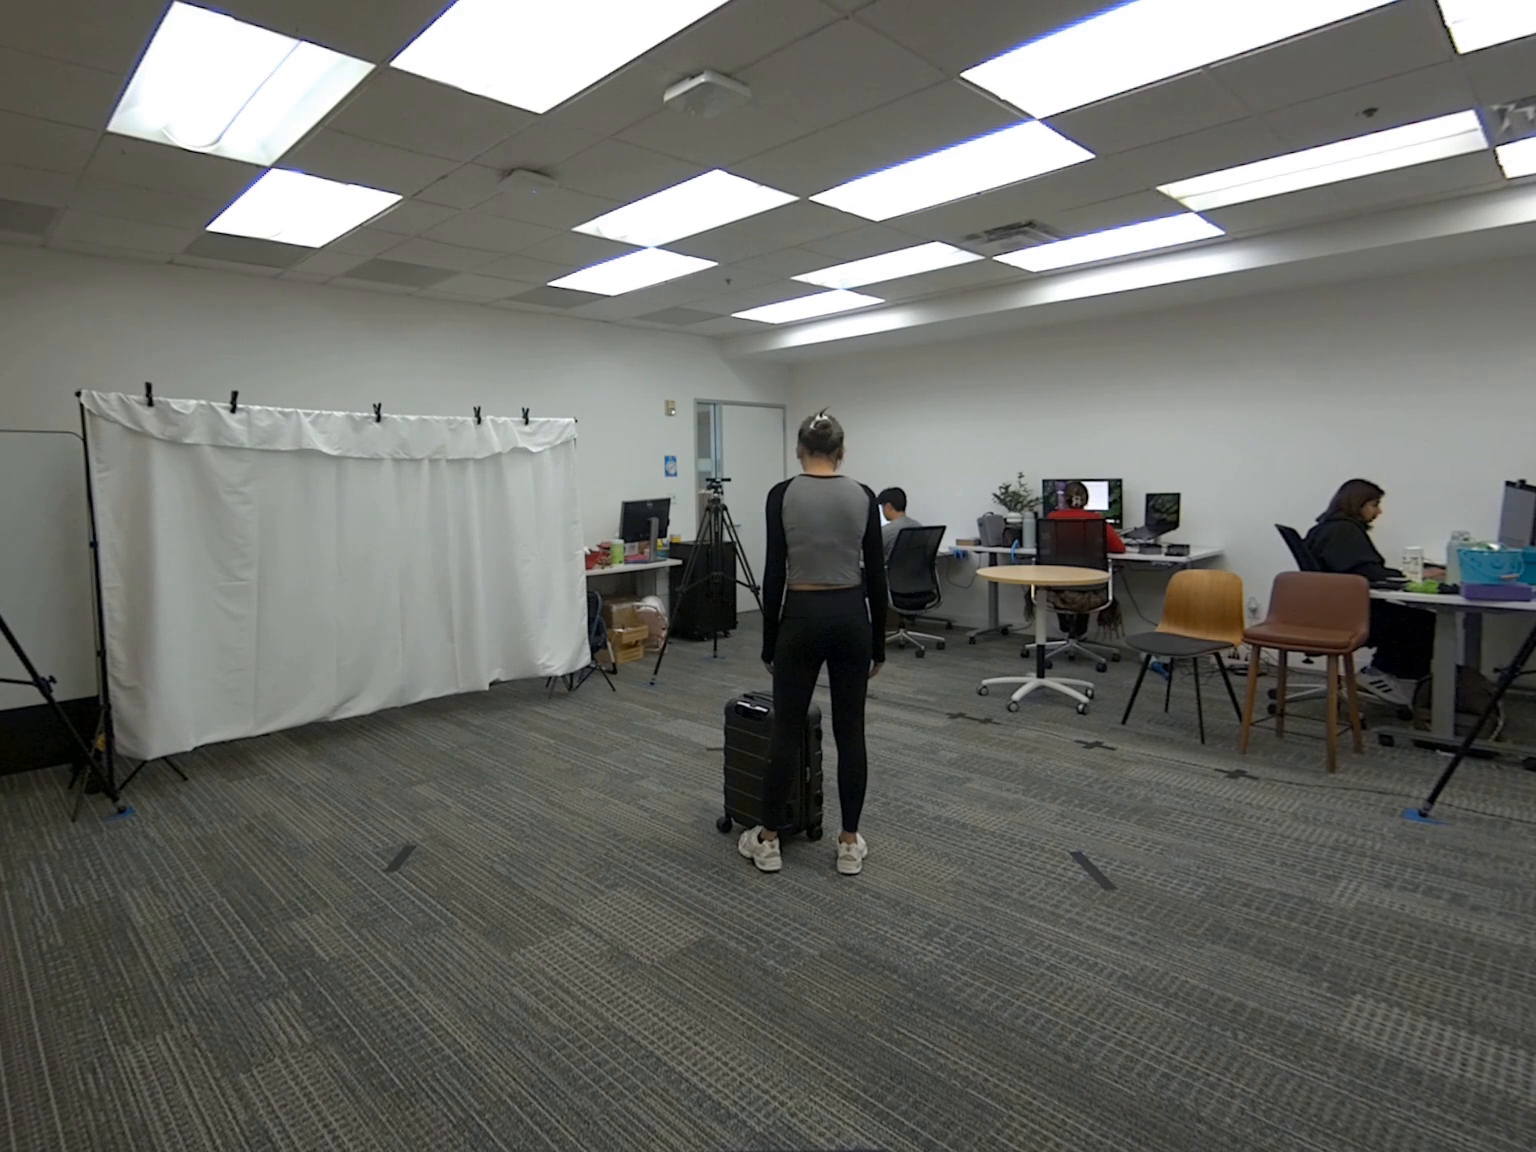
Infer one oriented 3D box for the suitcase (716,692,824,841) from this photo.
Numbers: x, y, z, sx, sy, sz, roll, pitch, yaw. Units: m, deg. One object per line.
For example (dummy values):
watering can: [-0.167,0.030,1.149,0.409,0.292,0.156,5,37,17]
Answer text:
suitcase: [0.016,0.740,3.350,0.241,0.548,0.387,-2,4,-43]
